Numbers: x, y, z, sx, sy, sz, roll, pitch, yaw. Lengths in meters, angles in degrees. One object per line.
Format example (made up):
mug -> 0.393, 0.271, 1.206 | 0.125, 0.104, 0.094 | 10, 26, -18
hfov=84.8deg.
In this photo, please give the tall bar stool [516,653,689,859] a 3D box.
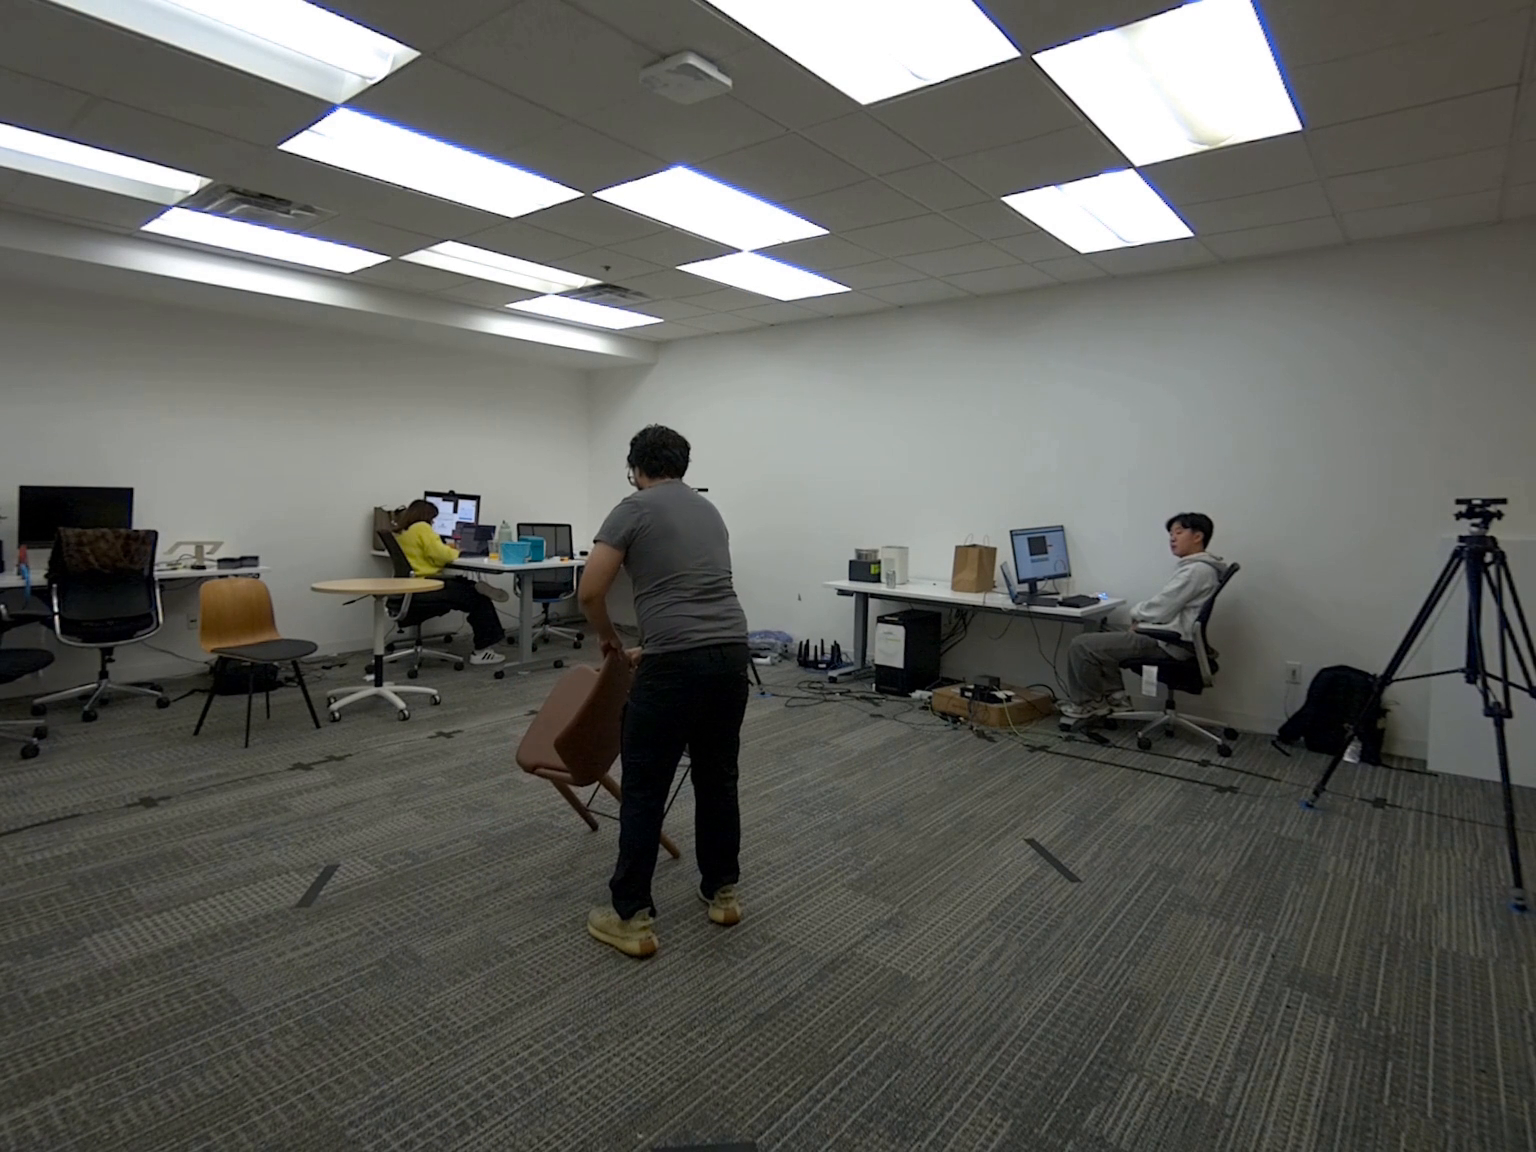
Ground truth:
tall bar stool -> -0.617, 0.624, 3.154 | 0.483, 0.460, 0.854 | 8, -37, 33
